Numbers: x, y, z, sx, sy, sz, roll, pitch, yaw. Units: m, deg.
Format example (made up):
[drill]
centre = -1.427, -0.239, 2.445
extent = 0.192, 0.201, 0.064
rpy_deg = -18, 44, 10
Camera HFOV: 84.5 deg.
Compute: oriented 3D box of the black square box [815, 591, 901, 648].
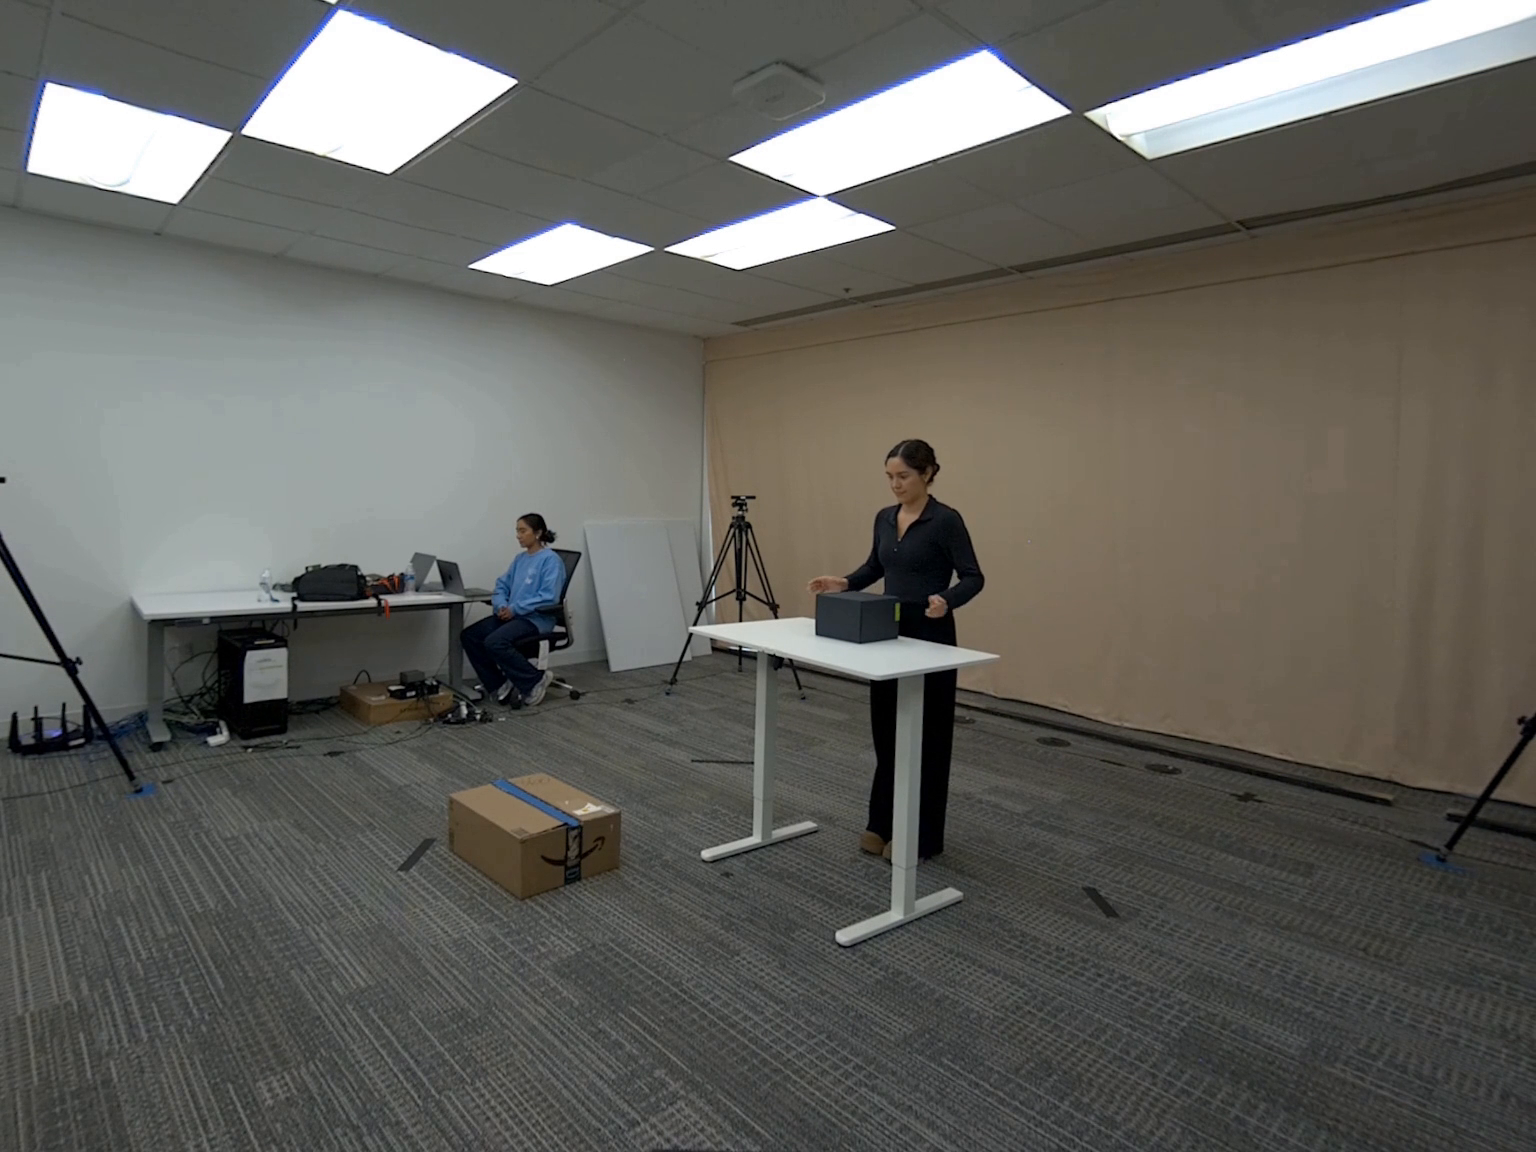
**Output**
[black square box]
centre = 0.335, 0.154, 3.135
extent = 0.212, 0.155, 0.234
rpy_deg = -3, 8, -40
